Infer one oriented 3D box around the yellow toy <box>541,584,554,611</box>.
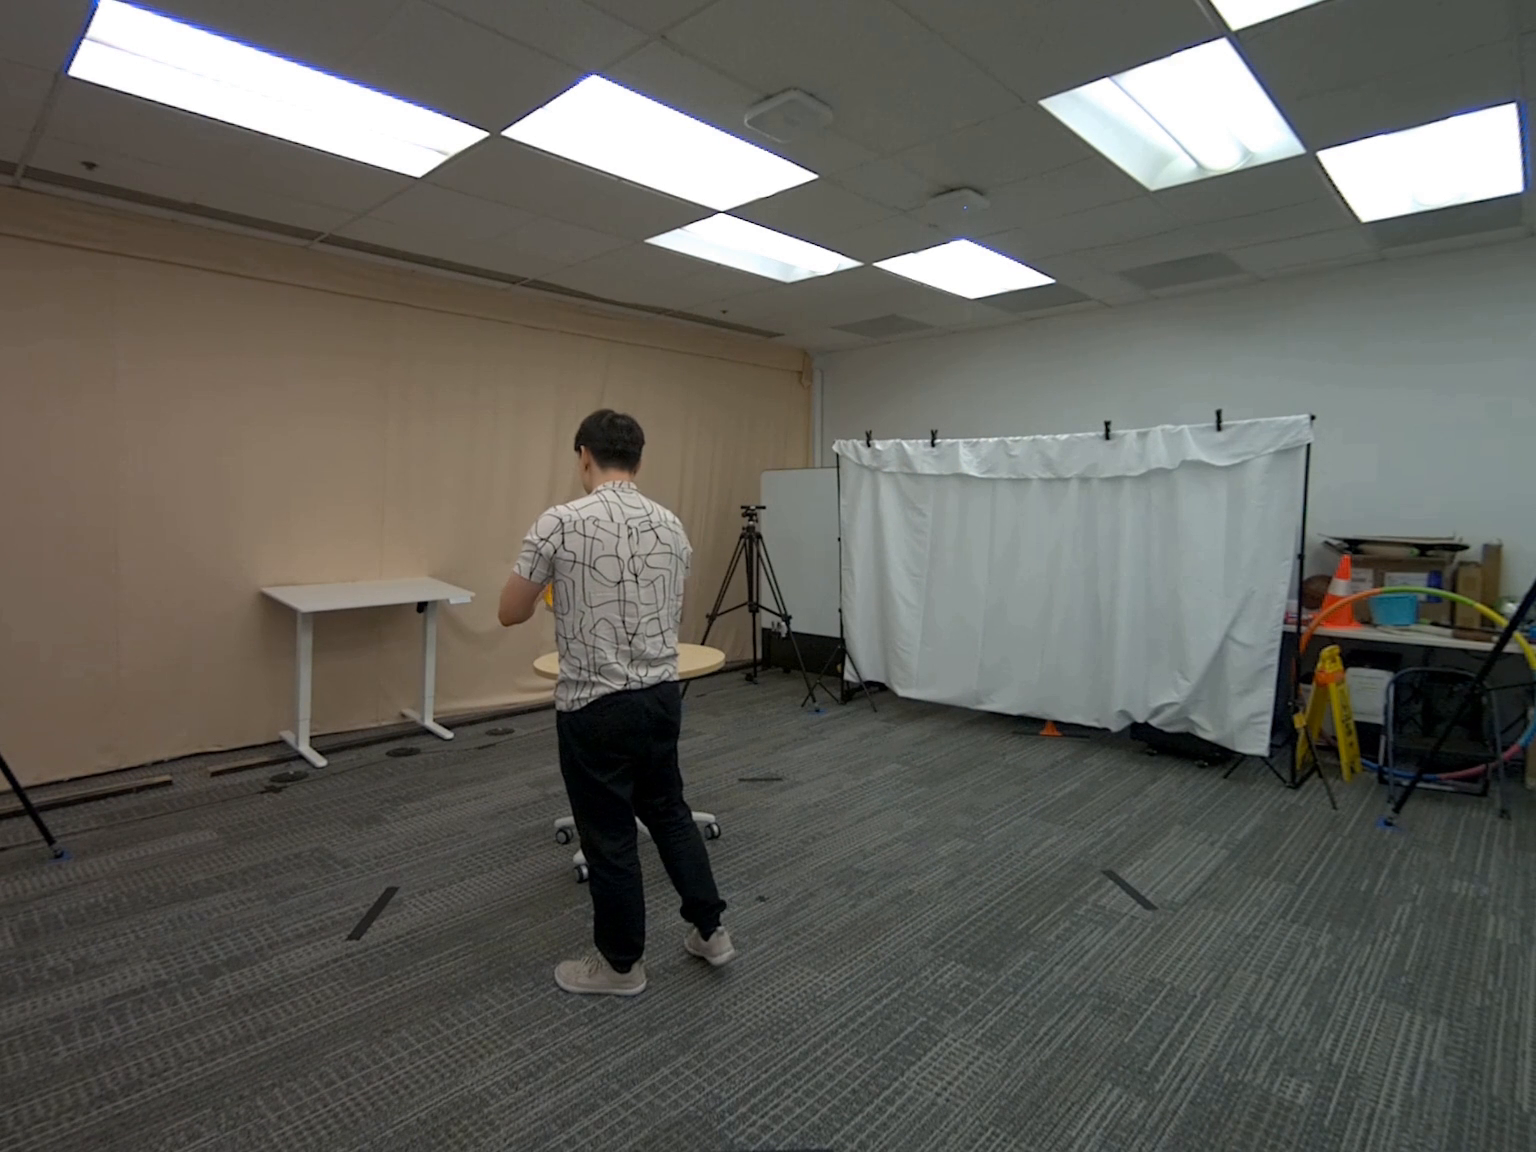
[{"bbox_3d":[-0.647,0.048,2.673,0.225,0.206,0.197,11,-11,-25],"label":"yellow toy"}]
